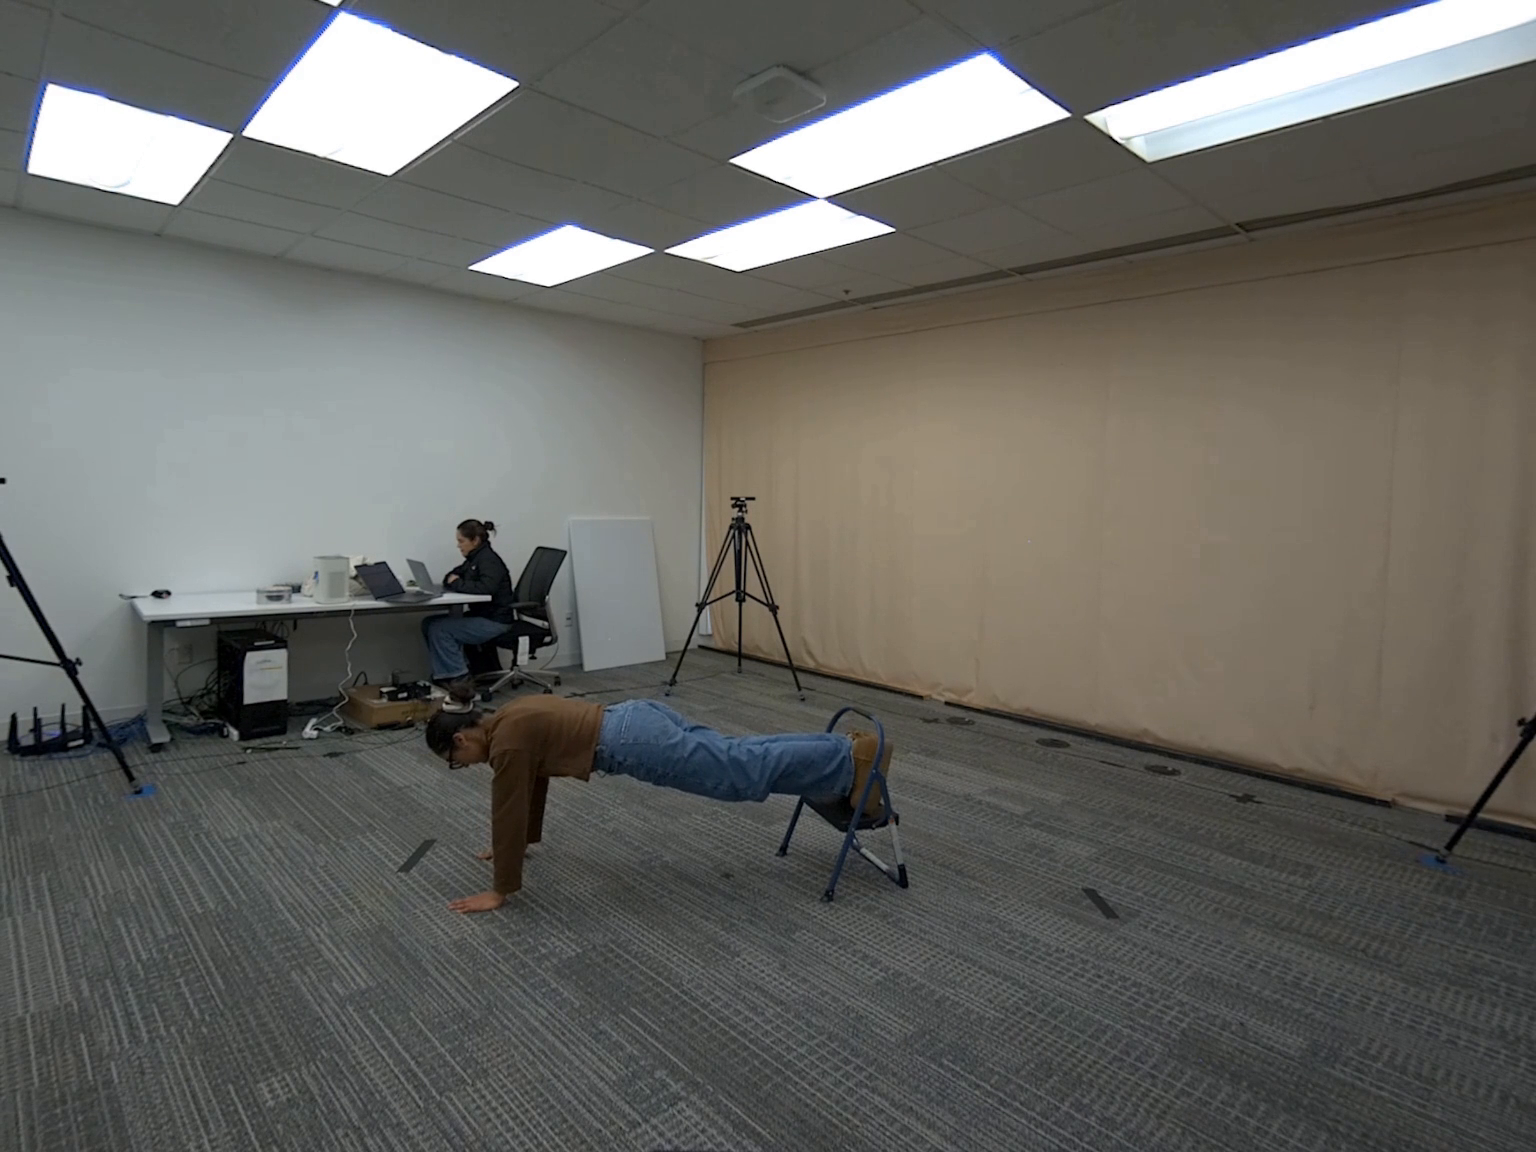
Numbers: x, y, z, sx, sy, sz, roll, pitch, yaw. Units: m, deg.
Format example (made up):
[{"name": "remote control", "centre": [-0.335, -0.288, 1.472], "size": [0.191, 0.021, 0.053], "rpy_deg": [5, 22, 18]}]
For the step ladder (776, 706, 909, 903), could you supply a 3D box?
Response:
[{"name": "step ladder", "centre": [0.276, 0.813, 3.155], "size": [0.343, 0.605, 0.439], "rpy_deg": [0, 4, -23]}]
